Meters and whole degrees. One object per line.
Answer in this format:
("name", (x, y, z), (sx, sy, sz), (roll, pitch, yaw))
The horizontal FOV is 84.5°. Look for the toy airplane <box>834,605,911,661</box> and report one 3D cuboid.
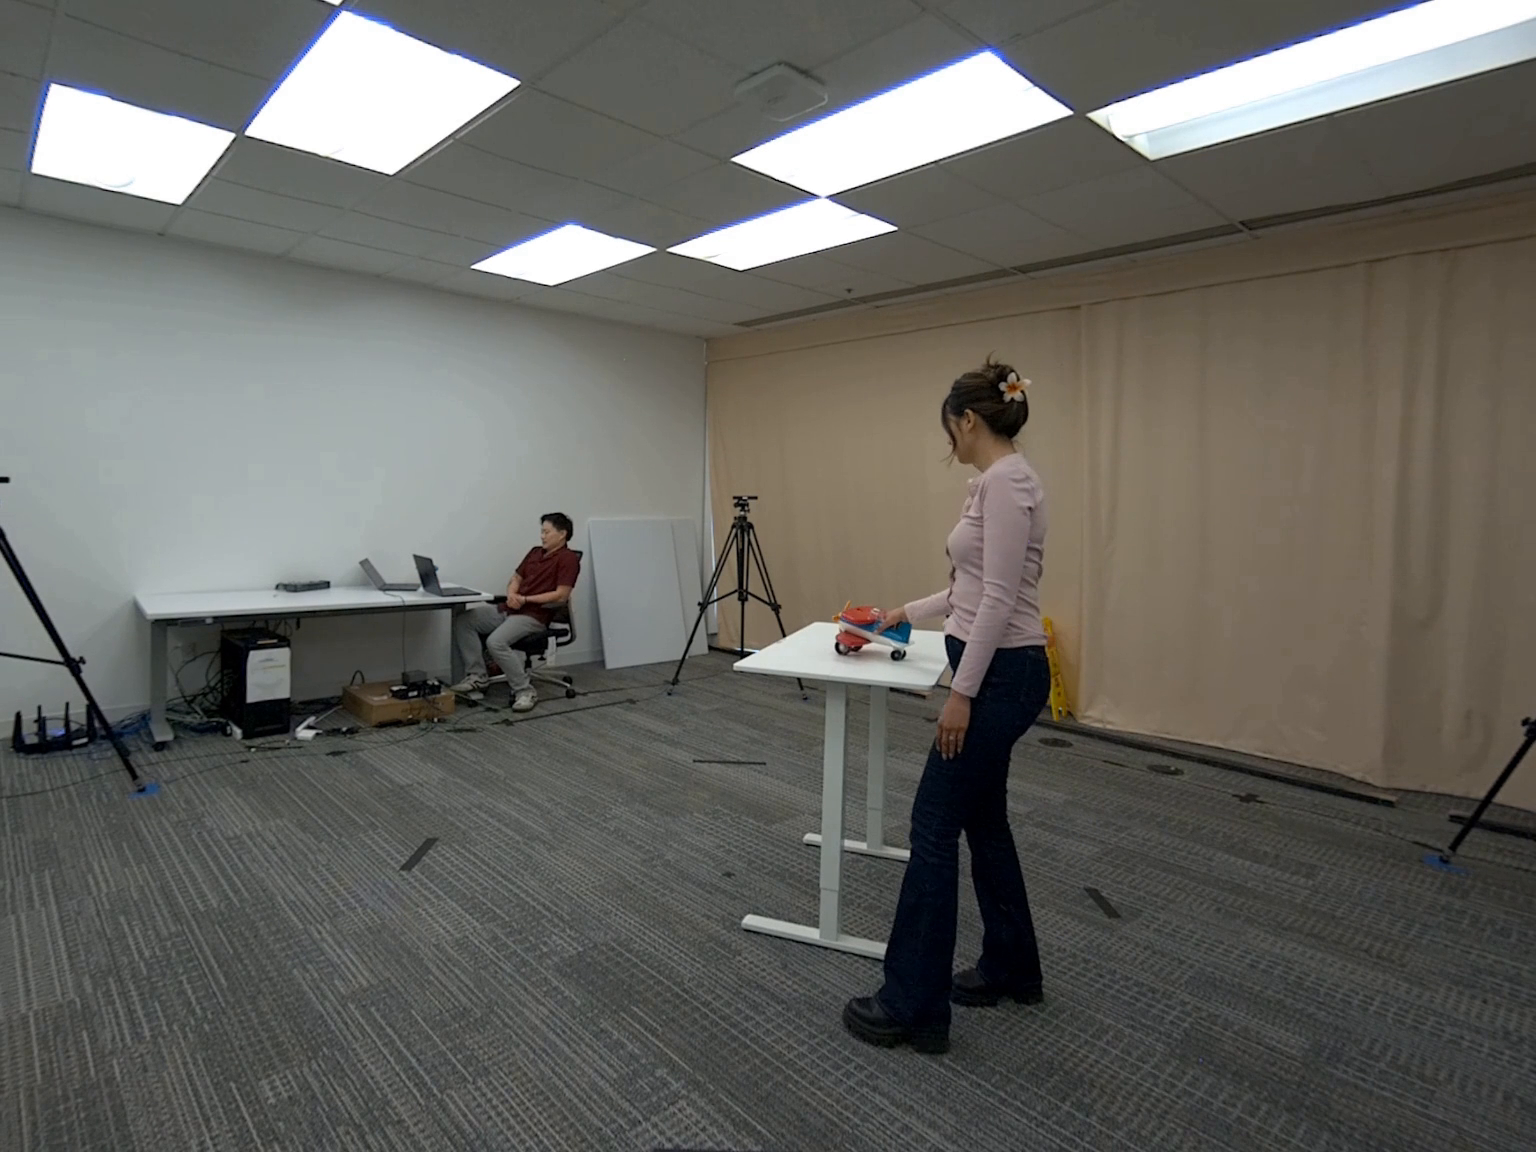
("toy airplane", (0.343, 0.189, 2.776), (0.260, 0.156, 0.251), (1, 6, 4))
